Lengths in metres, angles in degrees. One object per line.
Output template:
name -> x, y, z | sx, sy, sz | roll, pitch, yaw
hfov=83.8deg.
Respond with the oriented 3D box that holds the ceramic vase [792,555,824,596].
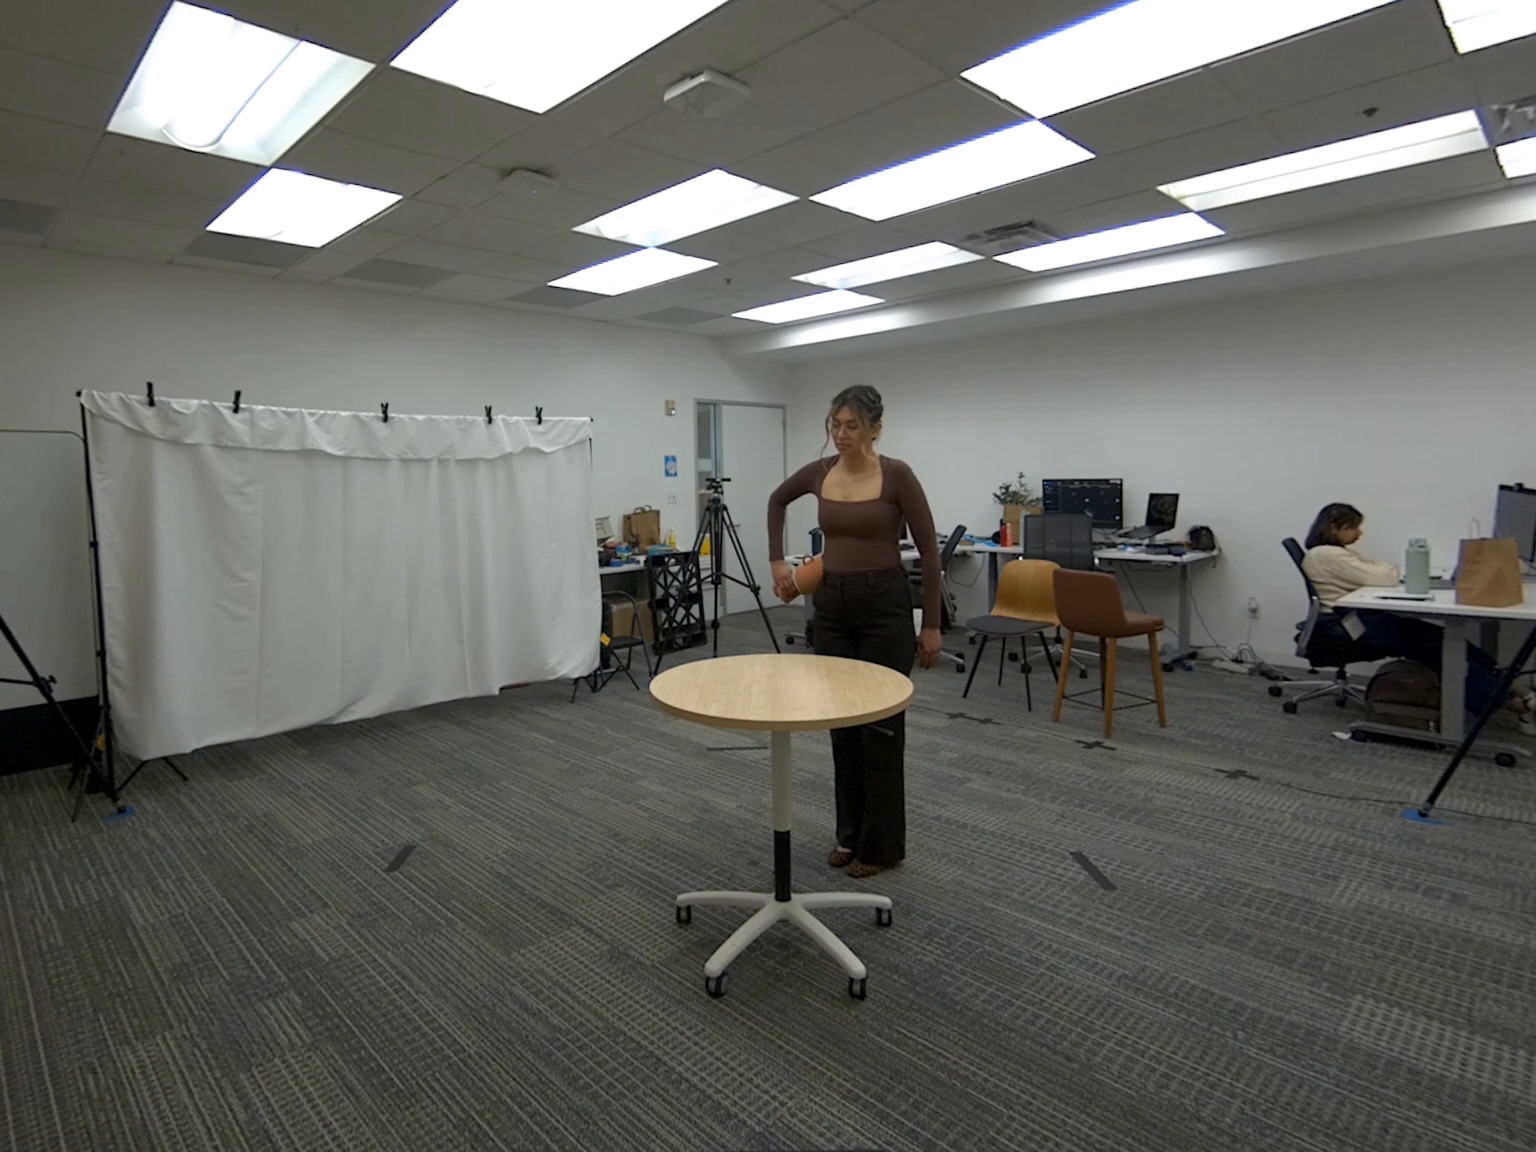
ceramic vase -> 0.146, 0.012, 3.299 | 0.222, 0.161, 0.131 | -27, -13, 25
